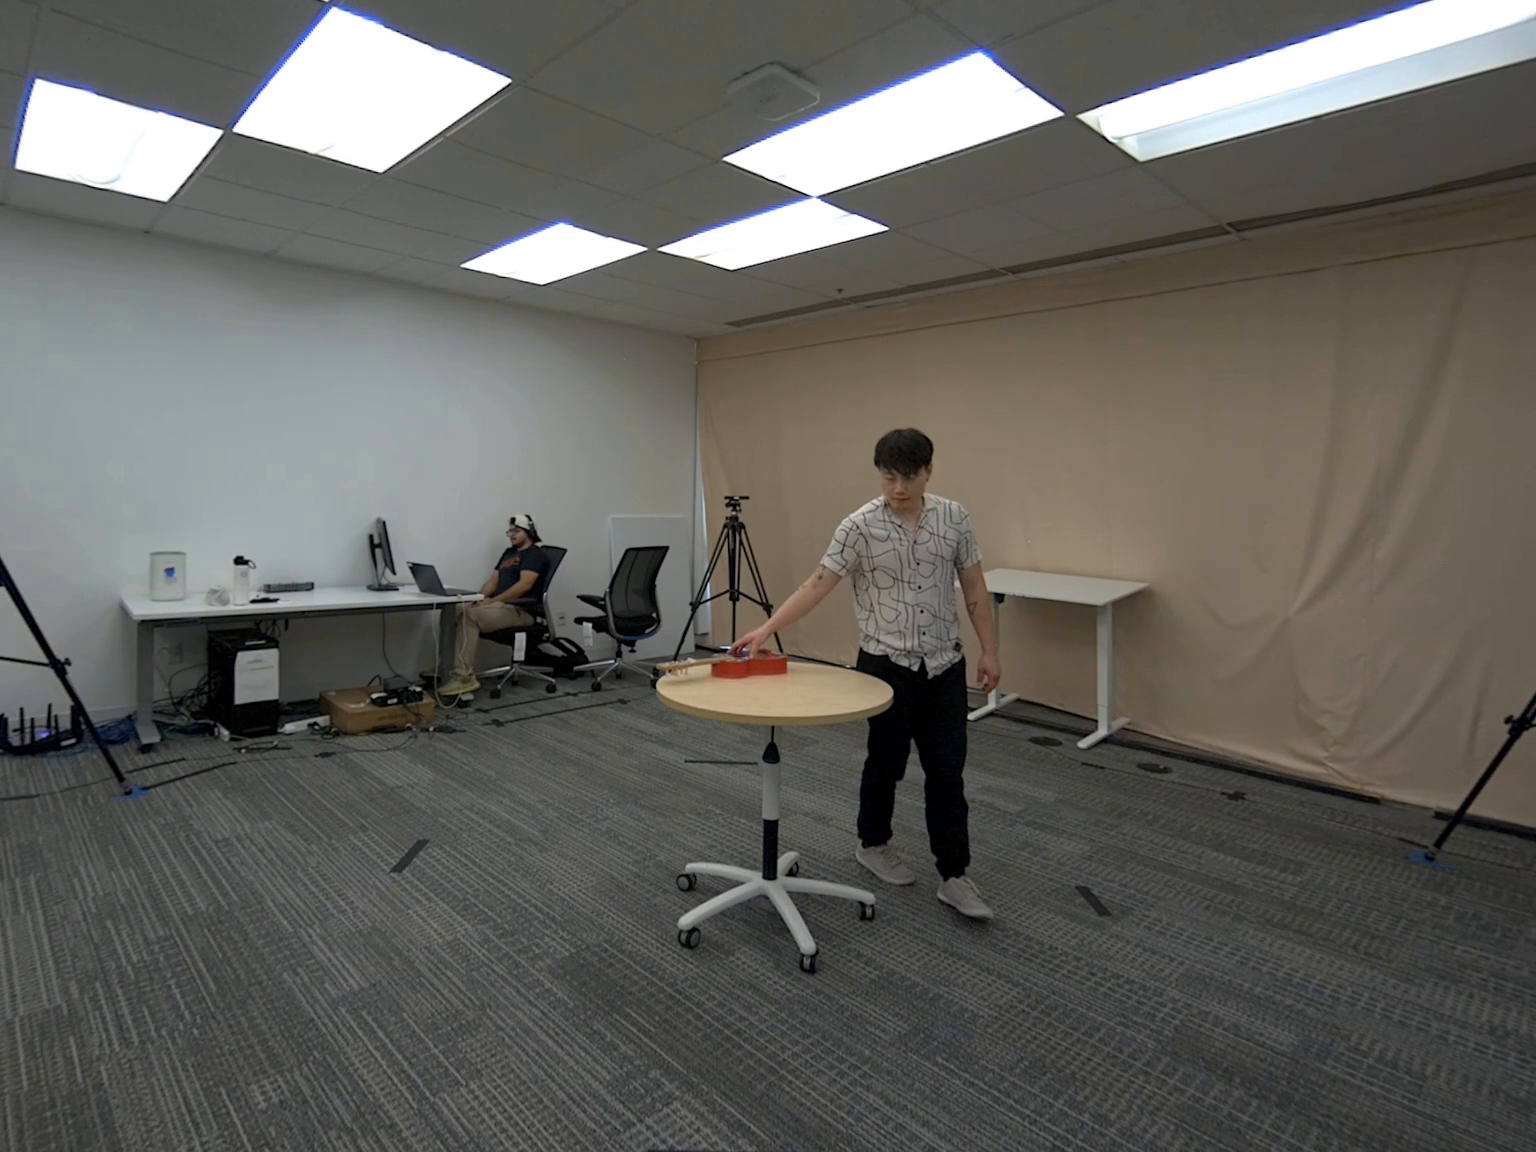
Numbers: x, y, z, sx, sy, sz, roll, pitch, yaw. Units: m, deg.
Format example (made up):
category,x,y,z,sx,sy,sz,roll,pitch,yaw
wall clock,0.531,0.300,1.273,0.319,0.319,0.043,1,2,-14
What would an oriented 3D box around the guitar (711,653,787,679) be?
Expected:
category,x,y,z,sx,sy,sz,roll,pitch,yaw
guitar,-0.175,0.310,2.890,0.488,0.070,0.197,-1,7,-27
